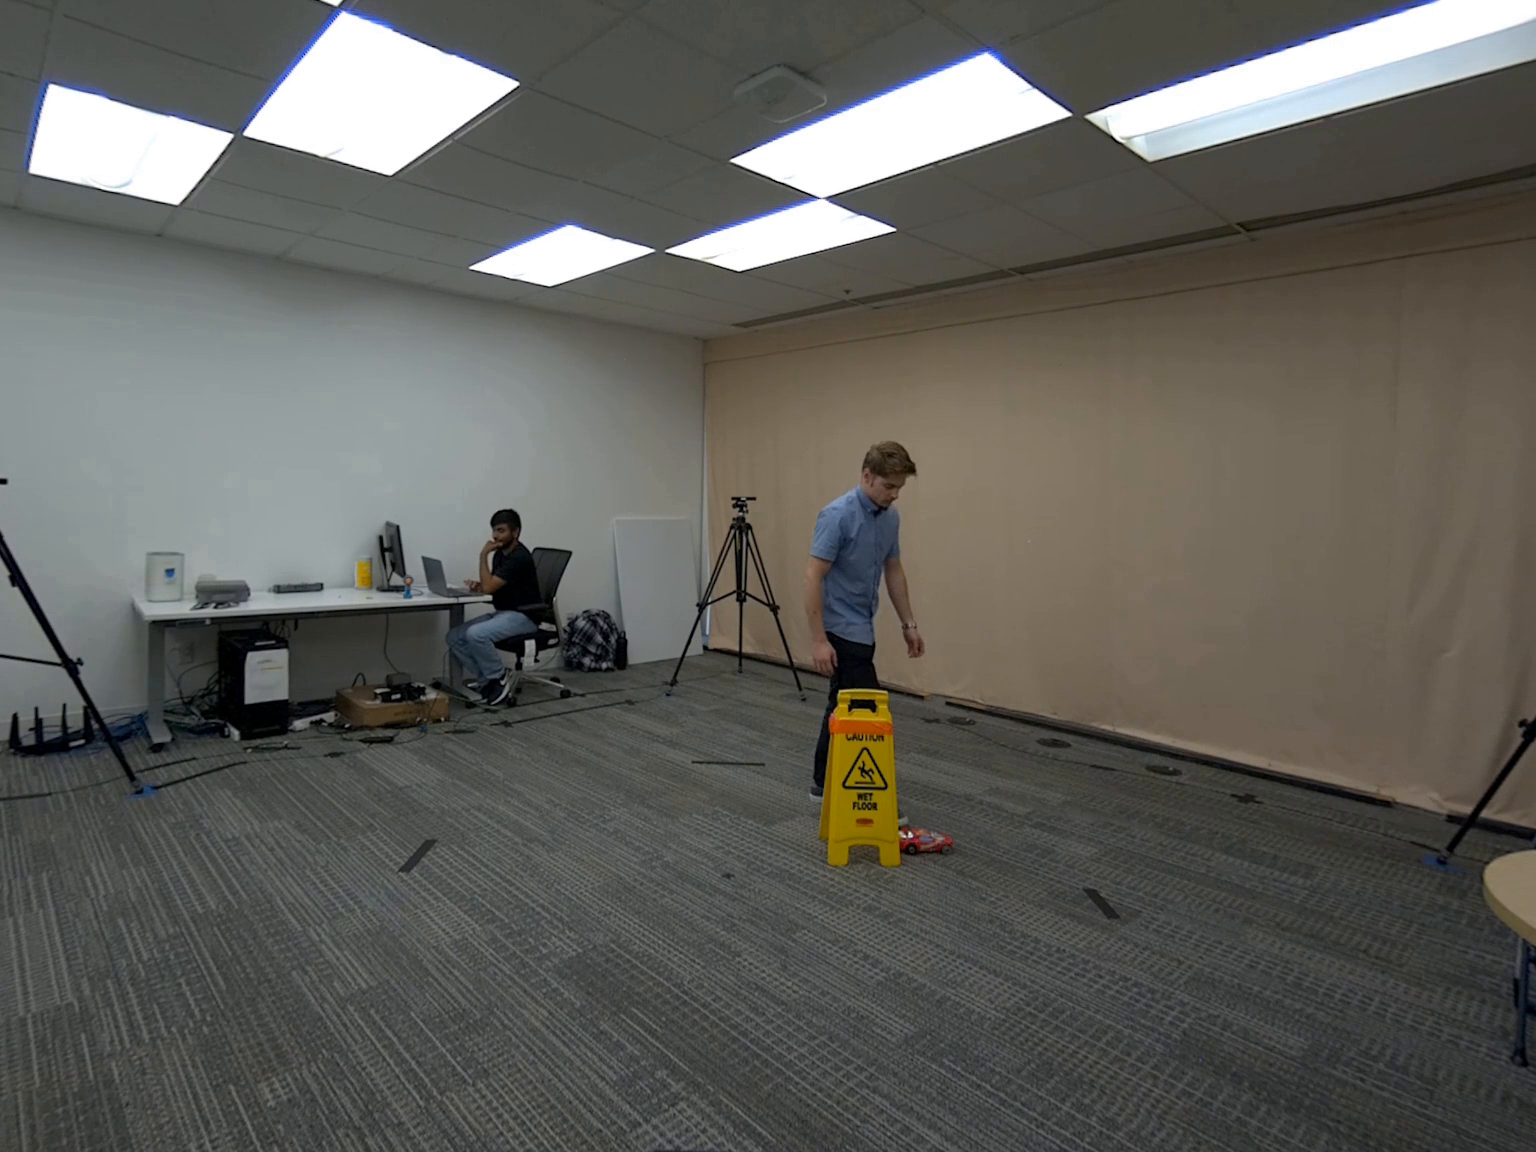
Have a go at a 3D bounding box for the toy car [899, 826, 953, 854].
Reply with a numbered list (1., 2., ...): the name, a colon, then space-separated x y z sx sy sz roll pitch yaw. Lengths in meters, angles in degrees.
1. toy car: 0.606 1.073 3.382 0.253 0.083 0.131 11 4 -7
